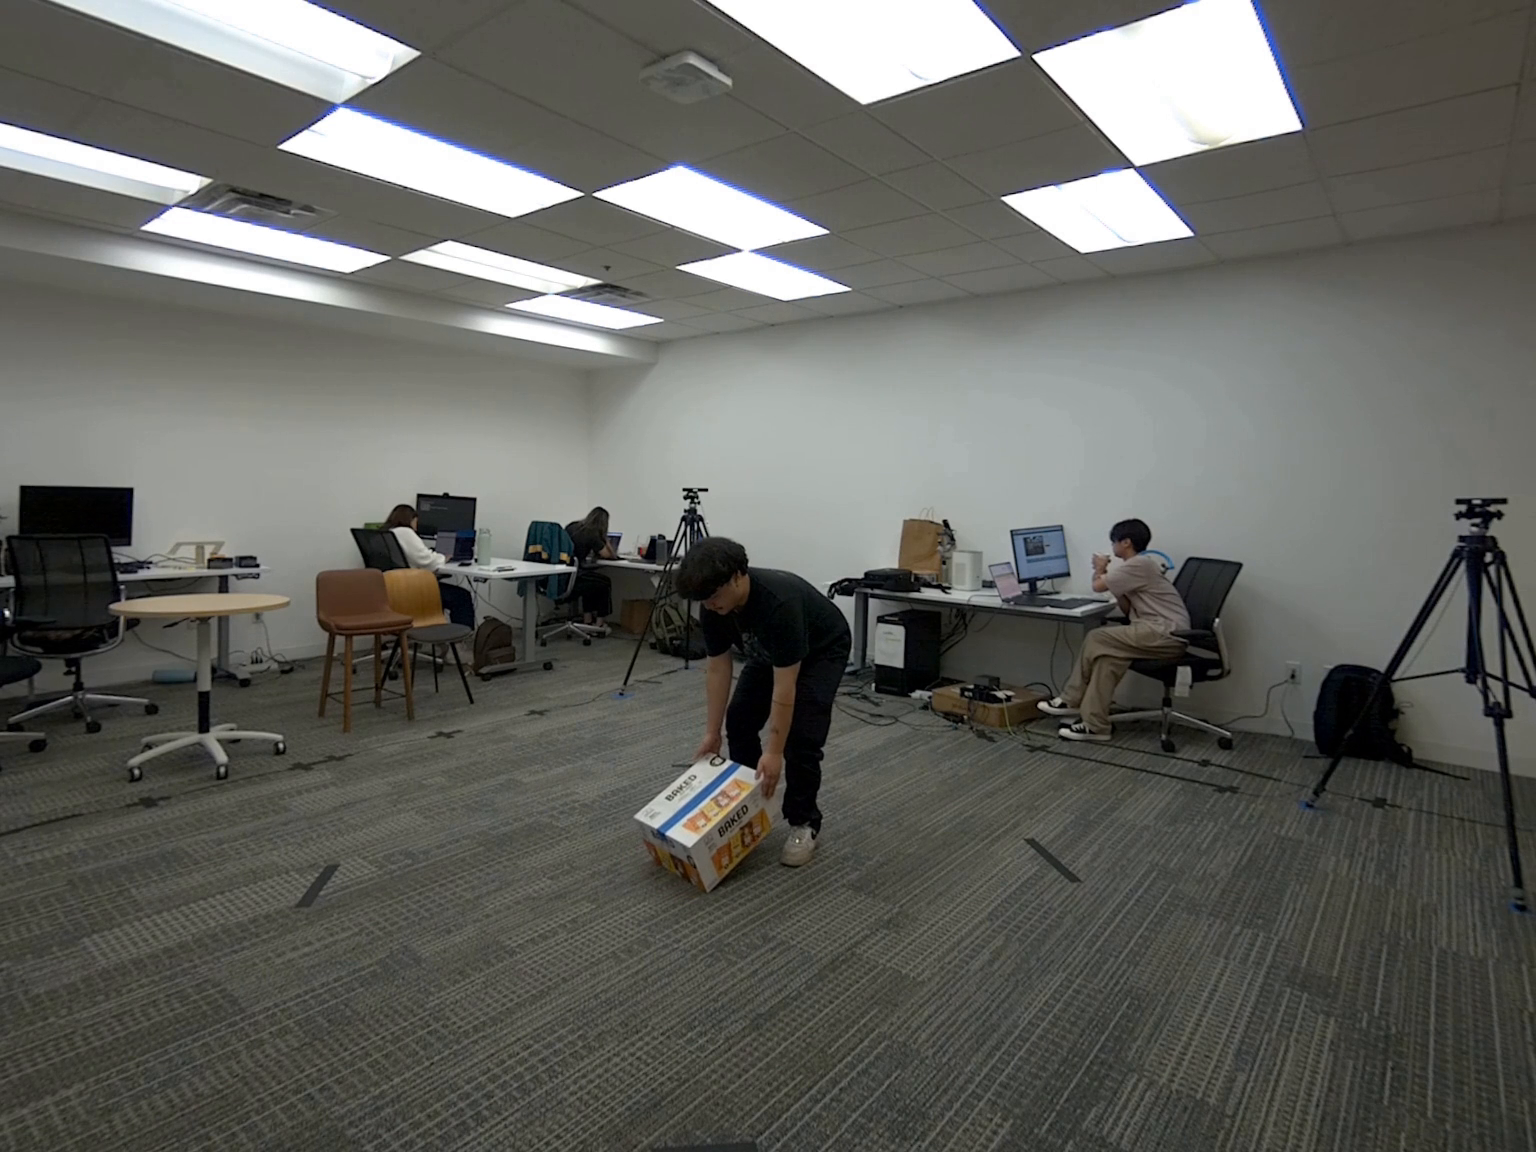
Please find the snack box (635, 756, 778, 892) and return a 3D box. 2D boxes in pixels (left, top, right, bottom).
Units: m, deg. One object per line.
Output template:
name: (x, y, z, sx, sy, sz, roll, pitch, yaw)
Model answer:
snack box: (-0.227, 0.891, 3.130, 0.401, 0.201, 0.352, -35, 26, -34)
